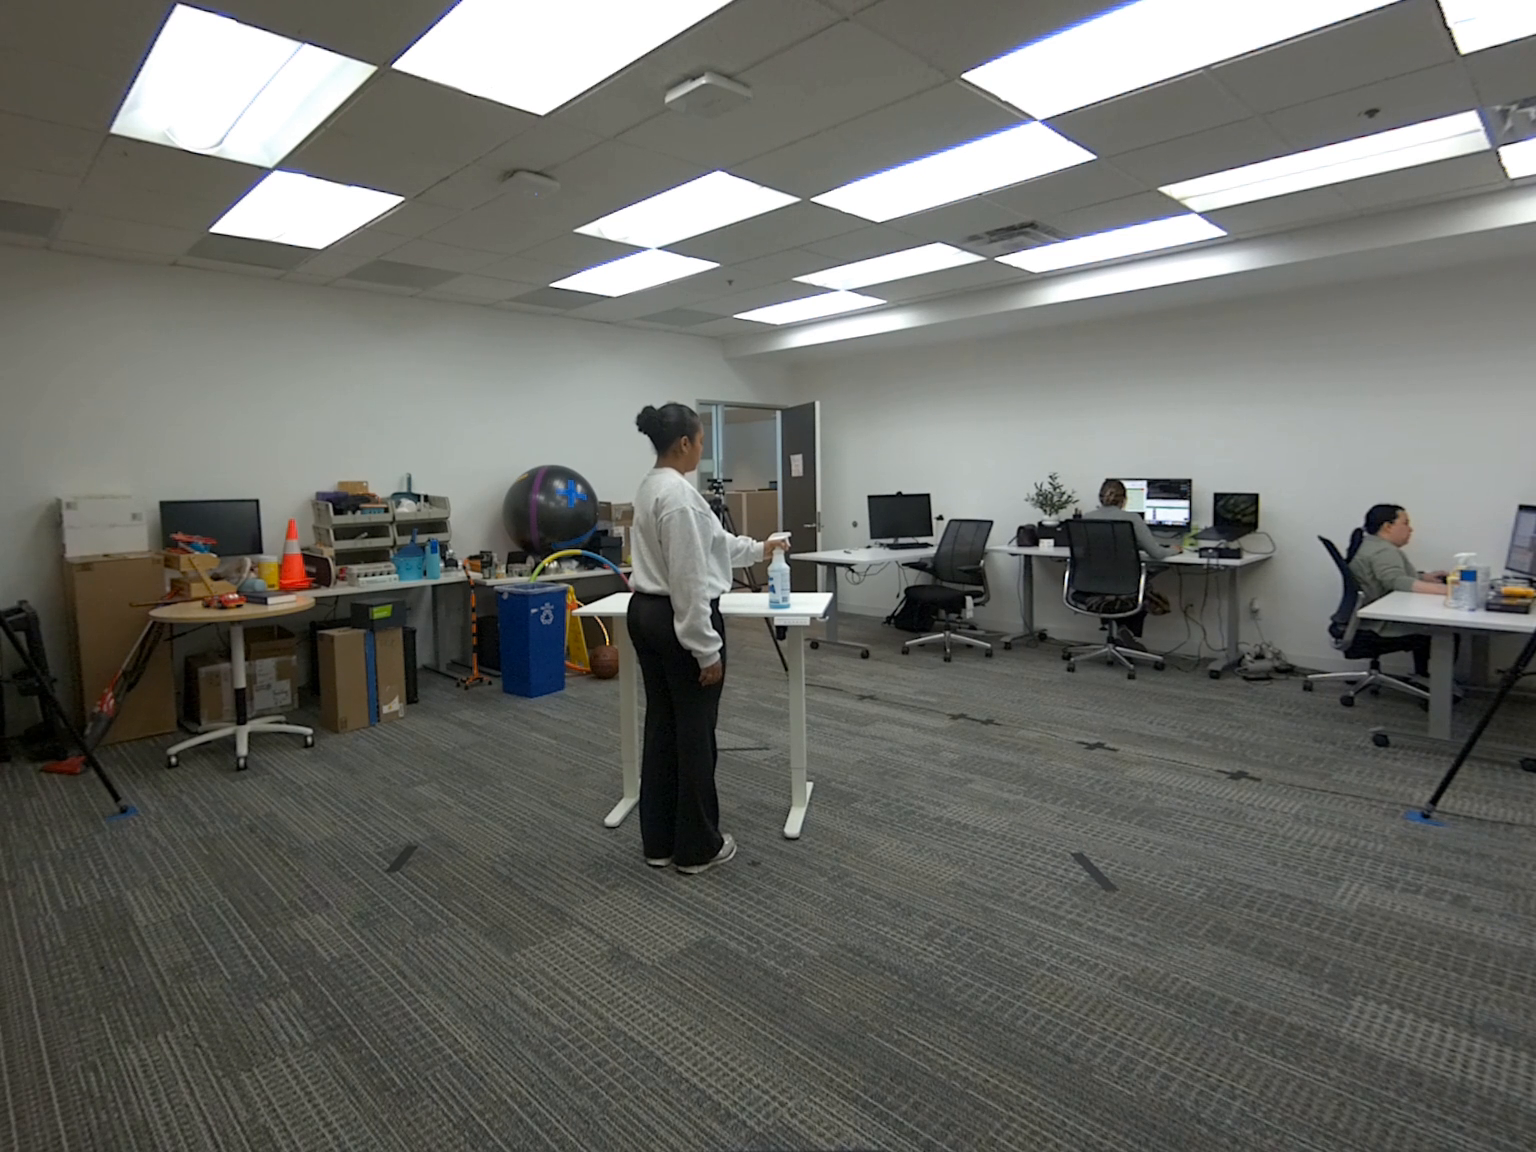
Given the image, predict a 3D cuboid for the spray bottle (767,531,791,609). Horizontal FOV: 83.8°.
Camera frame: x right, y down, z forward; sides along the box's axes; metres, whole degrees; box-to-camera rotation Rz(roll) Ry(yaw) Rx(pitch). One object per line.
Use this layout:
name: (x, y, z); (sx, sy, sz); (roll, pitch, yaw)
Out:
spray bottle: (0.048, -0.021, 3.387); (0.093, 0.296, 0.085); (4, 4, 34)
